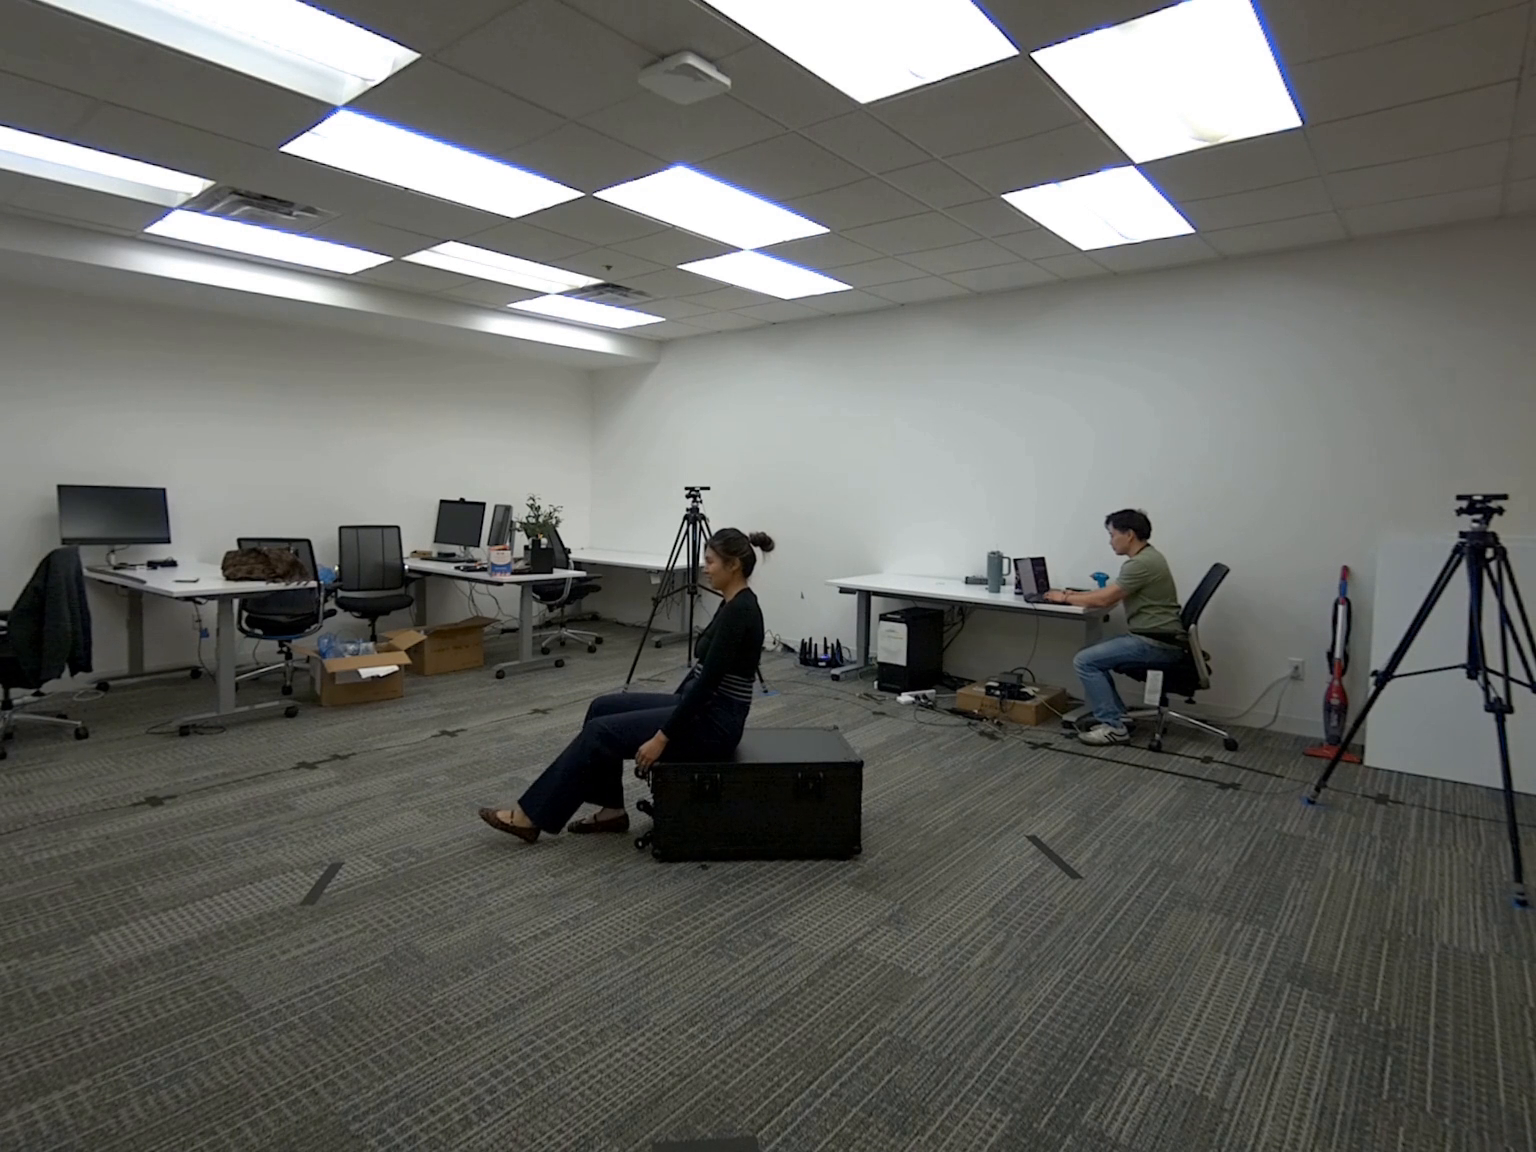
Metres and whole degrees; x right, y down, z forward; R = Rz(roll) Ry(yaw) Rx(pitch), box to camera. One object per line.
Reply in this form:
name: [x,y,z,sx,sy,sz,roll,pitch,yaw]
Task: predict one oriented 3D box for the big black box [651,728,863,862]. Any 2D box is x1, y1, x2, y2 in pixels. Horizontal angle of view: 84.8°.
big black box: [-0.105,0.847,3.392,0.857,0.395,0.526,0,5,-5]
